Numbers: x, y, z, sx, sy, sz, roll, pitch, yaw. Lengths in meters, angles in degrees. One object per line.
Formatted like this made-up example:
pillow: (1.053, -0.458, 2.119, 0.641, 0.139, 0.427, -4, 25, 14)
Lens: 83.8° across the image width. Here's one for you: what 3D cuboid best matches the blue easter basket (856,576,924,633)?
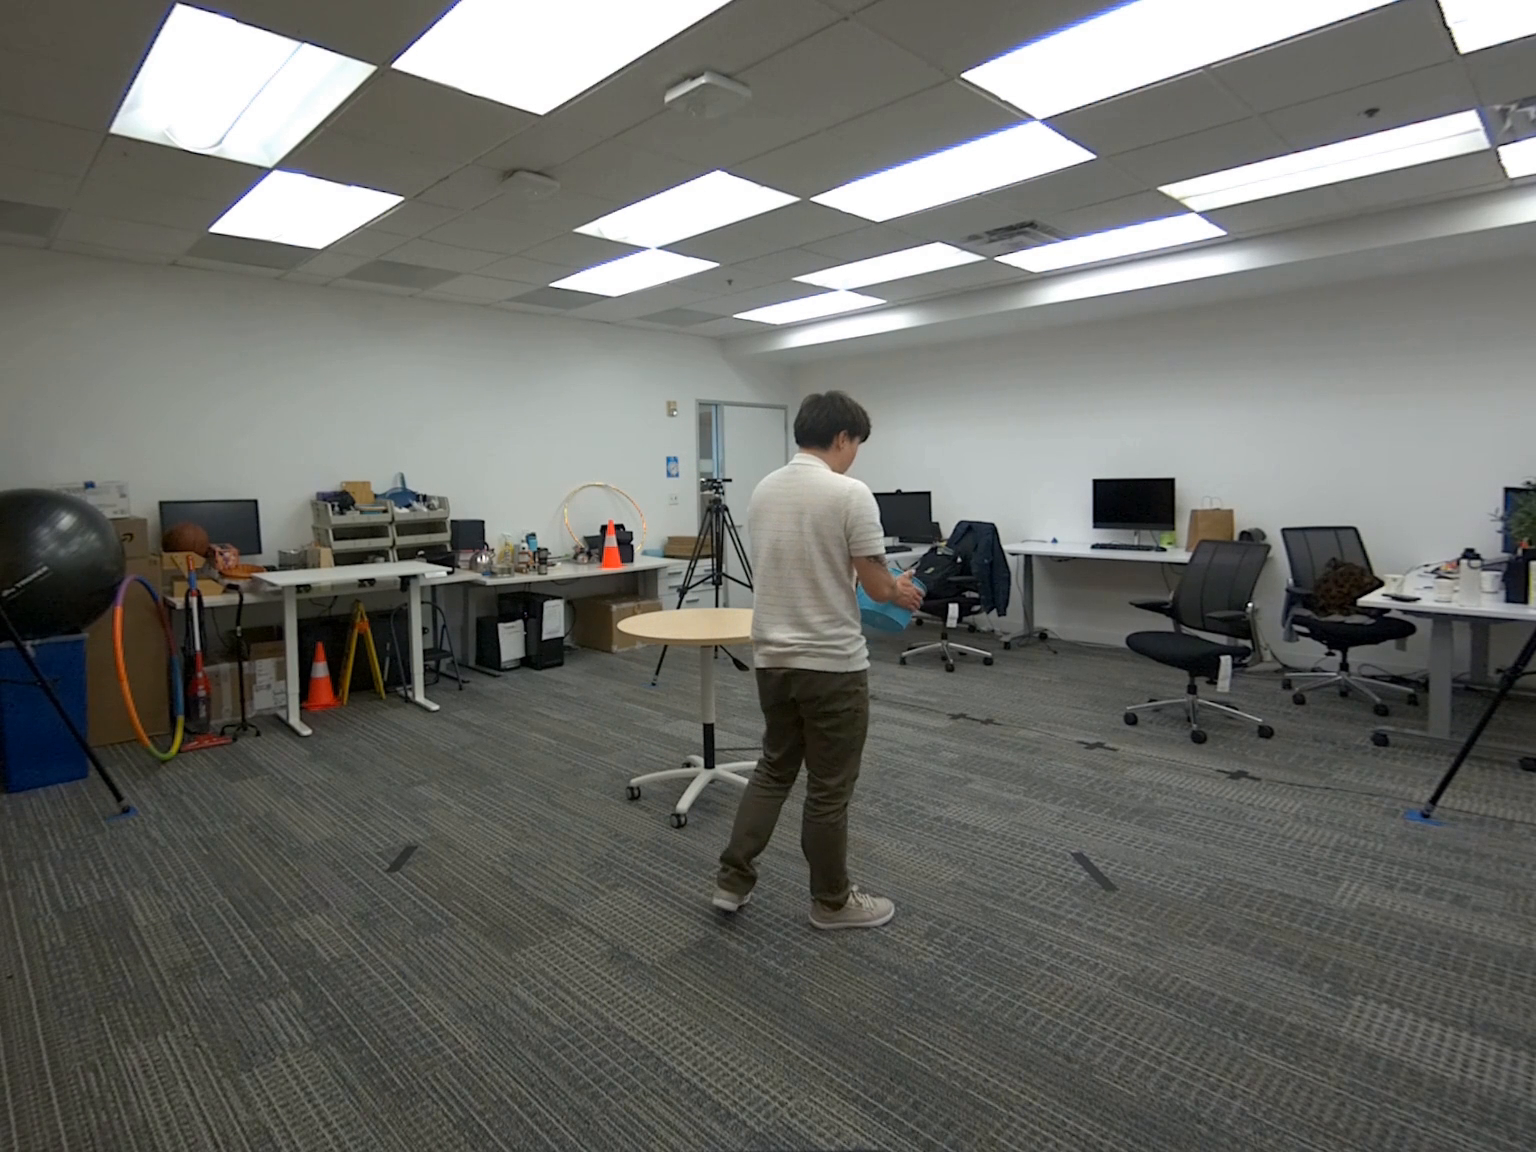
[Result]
blue easter basket: (0.390, 0.084, 2.847, 0.246, 0.157, 0.239, 22, -18, 6)
